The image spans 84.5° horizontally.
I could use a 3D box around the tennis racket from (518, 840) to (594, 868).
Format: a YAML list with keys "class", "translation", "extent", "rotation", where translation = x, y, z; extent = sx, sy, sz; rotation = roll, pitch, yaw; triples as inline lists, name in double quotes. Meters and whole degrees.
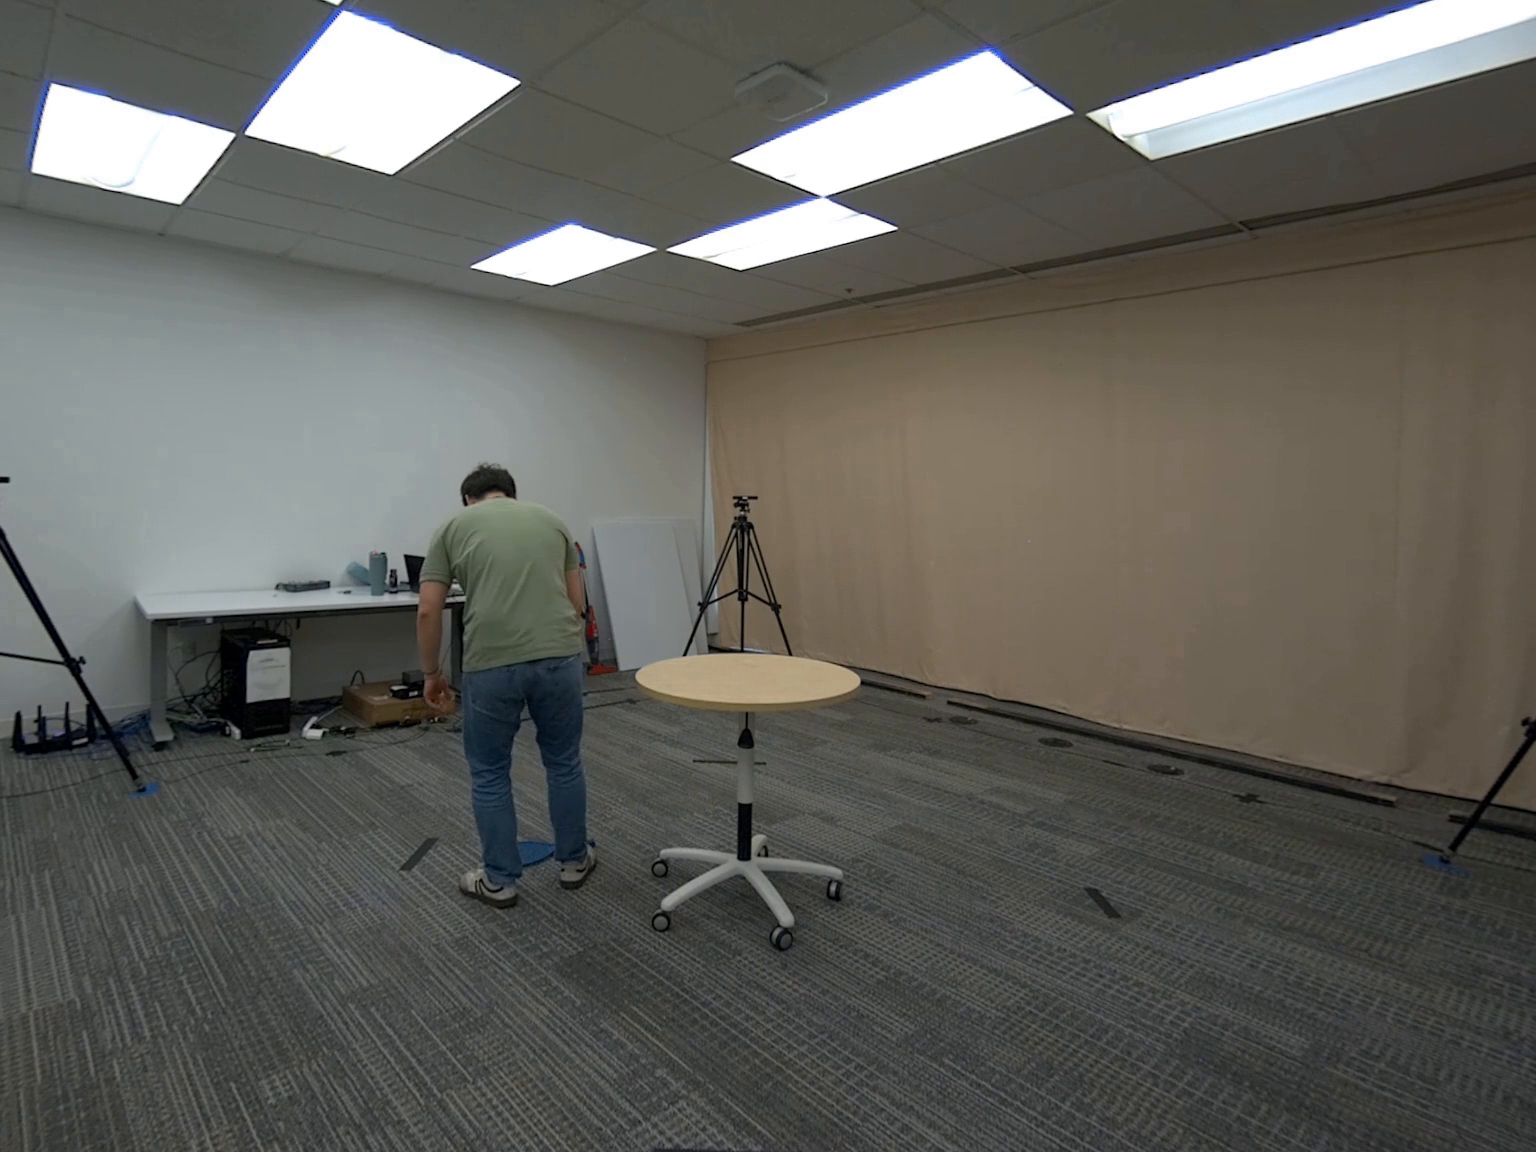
- class: "tennis racket"
  translation: [-0.885, 1.057, 3.244]
  extent: [0.426, 0.031, 0.218]
  rotation: [-3, 6, -22]
